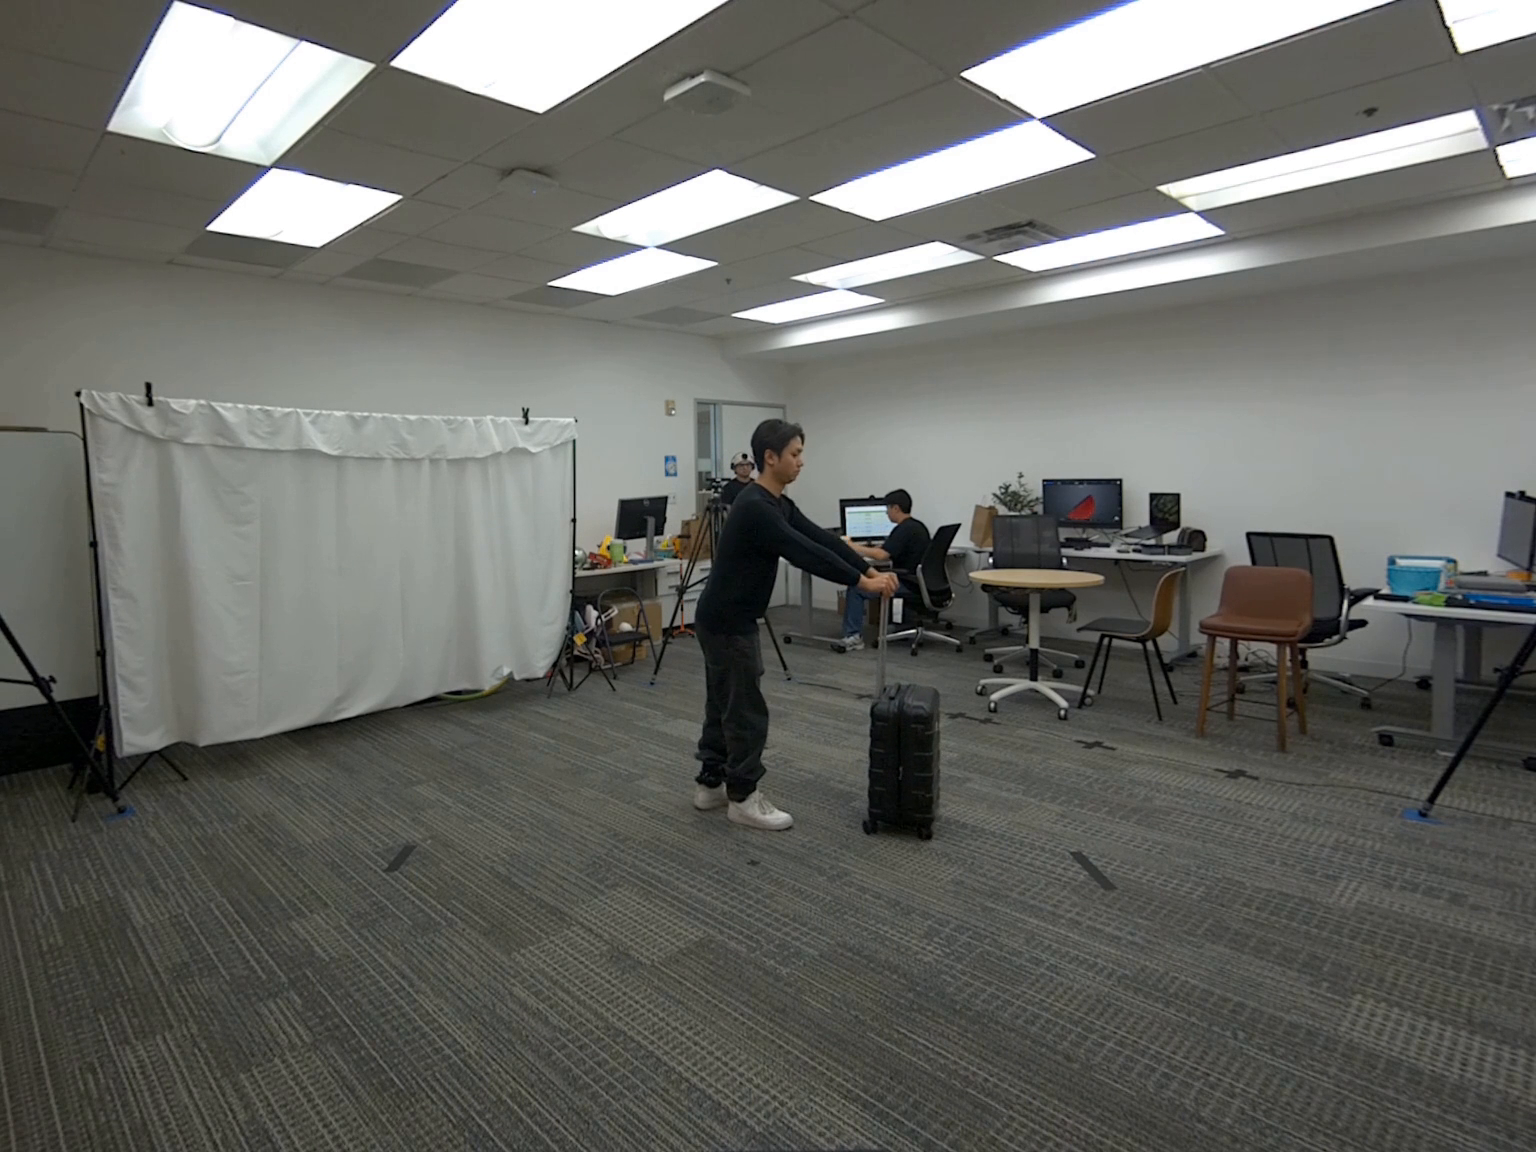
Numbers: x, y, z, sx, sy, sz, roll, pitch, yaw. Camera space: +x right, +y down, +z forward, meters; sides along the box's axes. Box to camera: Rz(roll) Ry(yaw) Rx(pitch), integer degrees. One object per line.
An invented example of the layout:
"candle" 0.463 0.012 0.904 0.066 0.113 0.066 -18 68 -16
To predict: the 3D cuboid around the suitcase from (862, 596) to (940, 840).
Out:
"suitcase" 0.552 0.520 3.404 0.261 0.974 0.379 3 6 16
